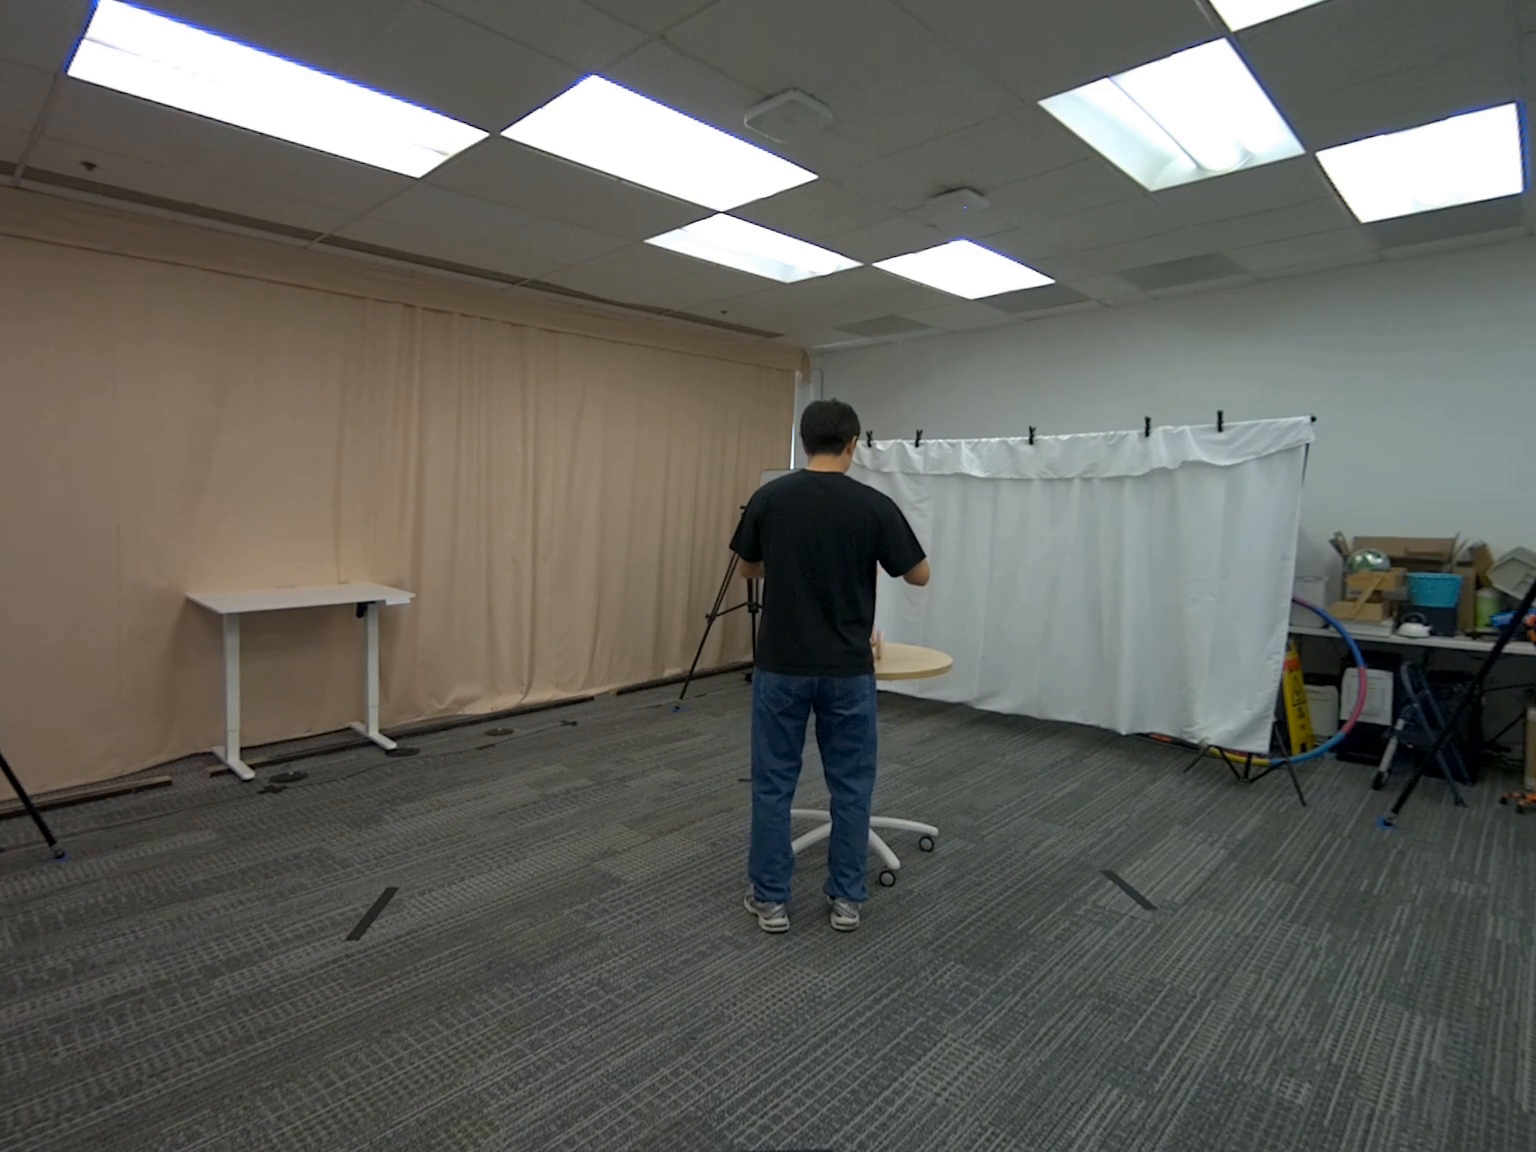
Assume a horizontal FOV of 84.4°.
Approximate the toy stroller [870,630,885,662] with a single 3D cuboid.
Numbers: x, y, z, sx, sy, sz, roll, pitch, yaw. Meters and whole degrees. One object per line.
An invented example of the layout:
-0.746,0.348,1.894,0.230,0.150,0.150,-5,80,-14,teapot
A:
0.333,0.090,3.360,0.285,0.529,0.340,2,18,12,toy stroller
